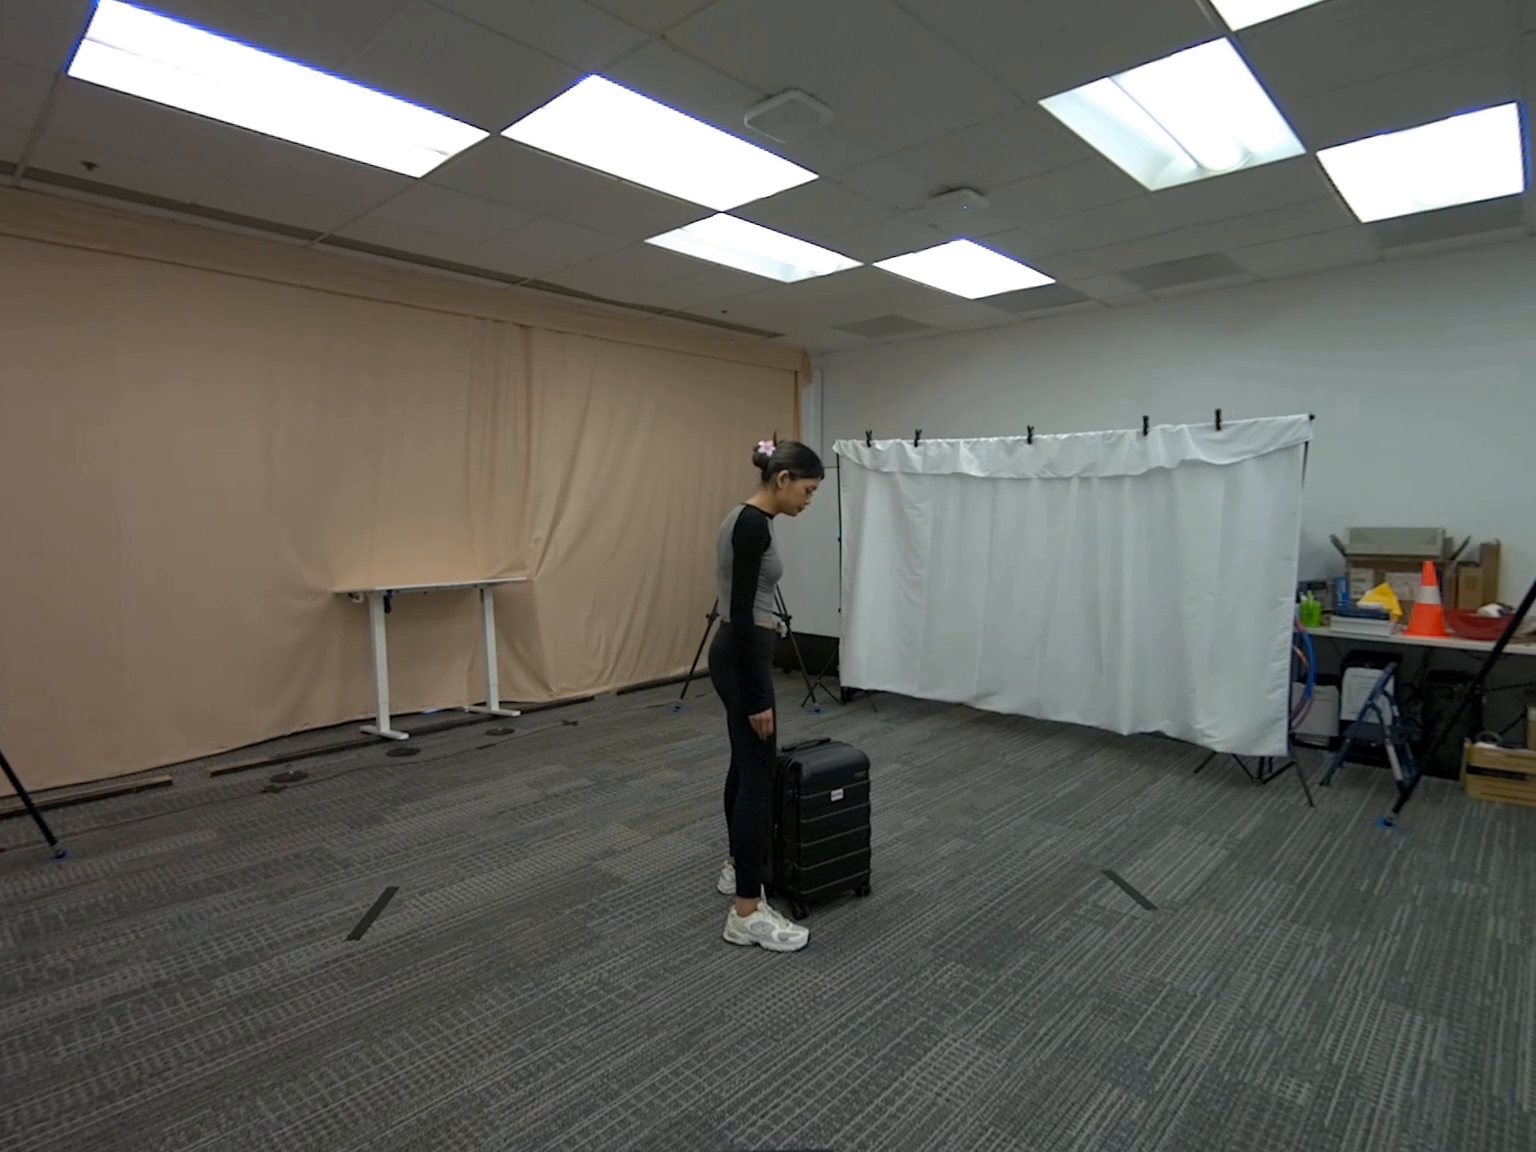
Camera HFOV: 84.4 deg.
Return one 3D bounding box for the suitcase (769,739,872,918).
[{"bbox_3d":[0.180,0.869,2.981,0.364,0.548,0.256,-2,6,-36],"label":"suitcase"}]
